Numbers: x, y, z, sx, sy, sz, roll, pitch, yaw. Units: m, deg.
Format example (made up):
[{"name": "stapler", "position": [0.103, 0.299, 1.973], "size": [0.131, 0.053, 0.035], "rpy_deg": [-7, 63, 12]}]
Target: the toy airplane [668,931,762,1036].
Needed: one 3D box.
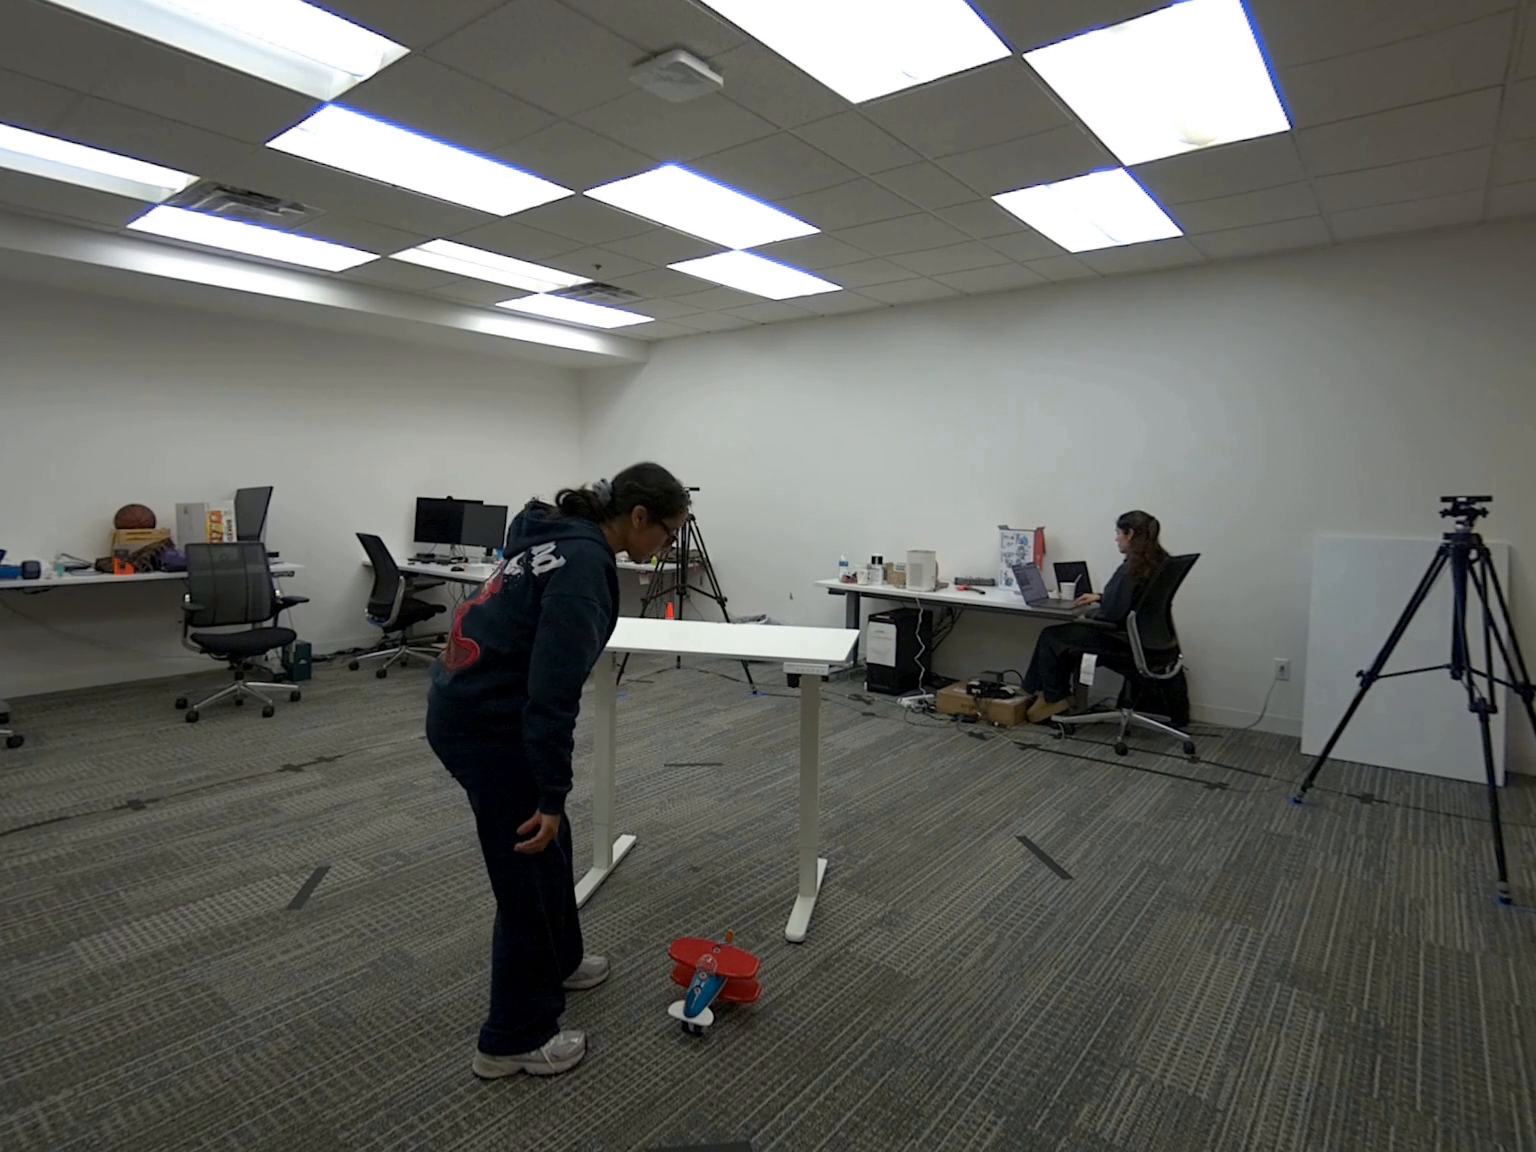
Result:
[{"name": "toy airplane", "position": [-0.134, 1.081, 2.246], "size": [0.249, 0.156, 0.263], "rpy_deg": [-1, 6, -9]}]
